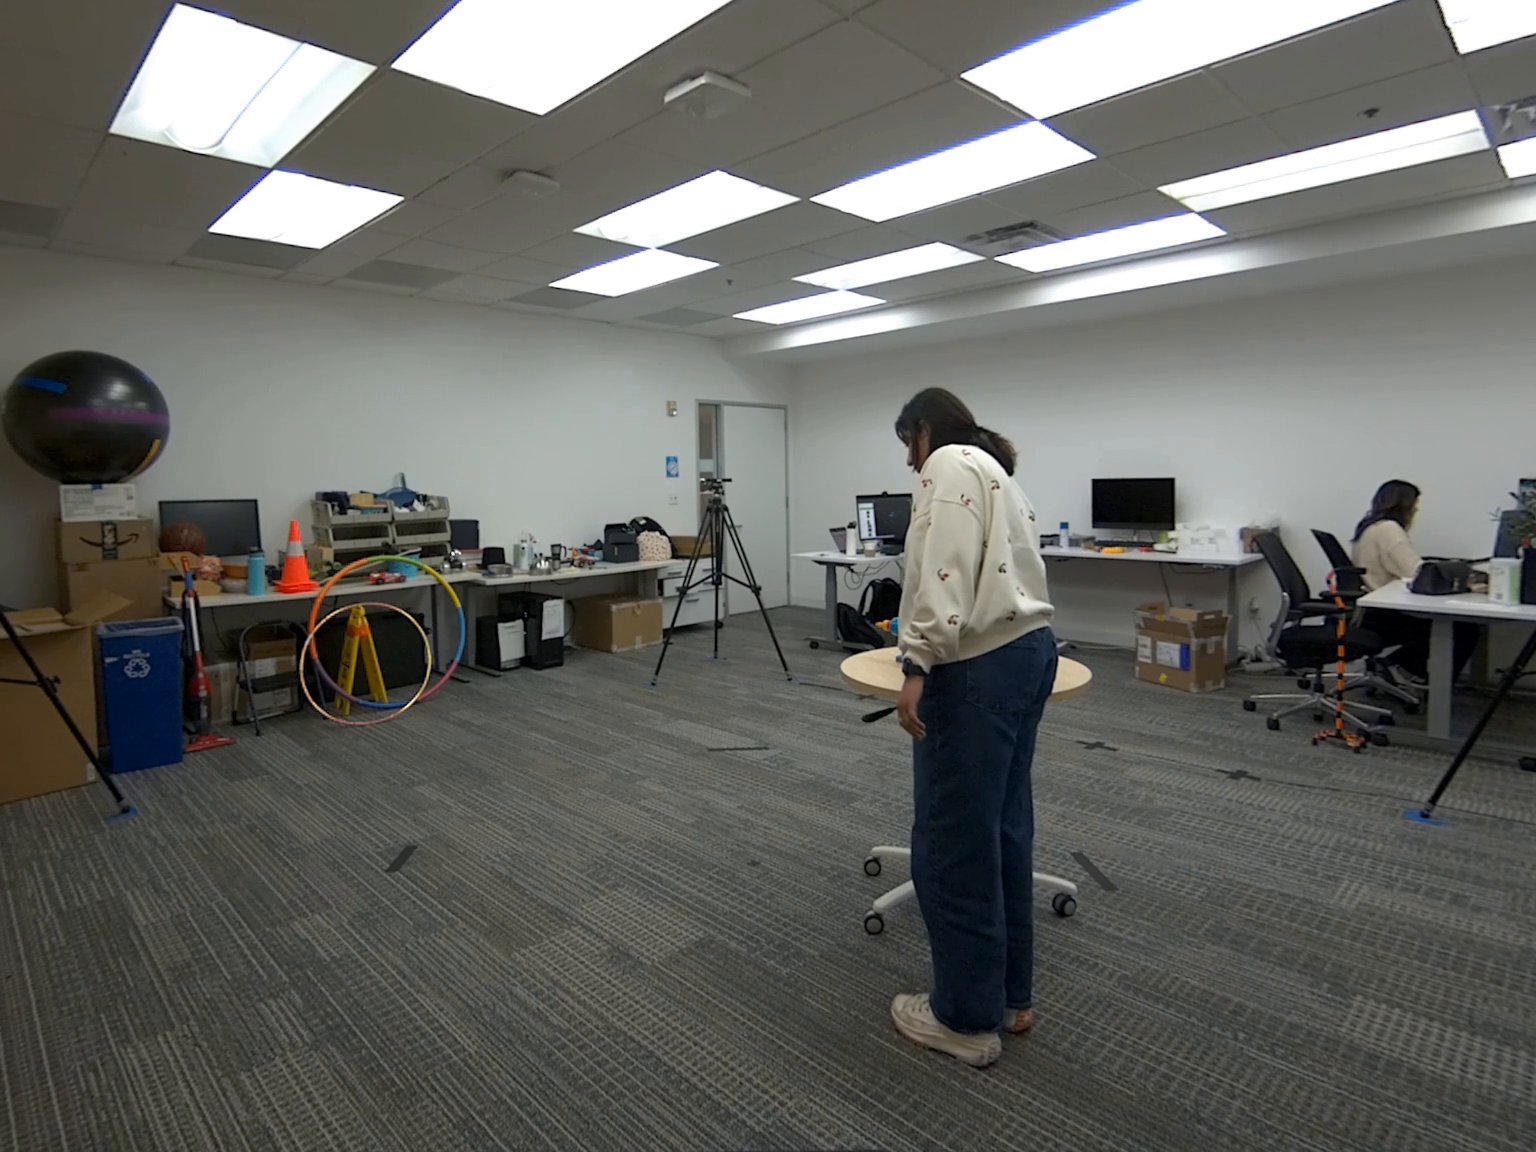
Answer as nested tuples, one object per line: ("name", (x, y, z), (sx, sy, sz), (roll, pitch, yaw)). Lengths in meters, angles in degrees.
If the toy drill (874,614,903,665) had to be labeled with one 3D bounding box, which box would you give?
("toy drill", (0.441, 0.211, 2.857), (0.175, 0.145, 0.059), (5, 7, 44))
